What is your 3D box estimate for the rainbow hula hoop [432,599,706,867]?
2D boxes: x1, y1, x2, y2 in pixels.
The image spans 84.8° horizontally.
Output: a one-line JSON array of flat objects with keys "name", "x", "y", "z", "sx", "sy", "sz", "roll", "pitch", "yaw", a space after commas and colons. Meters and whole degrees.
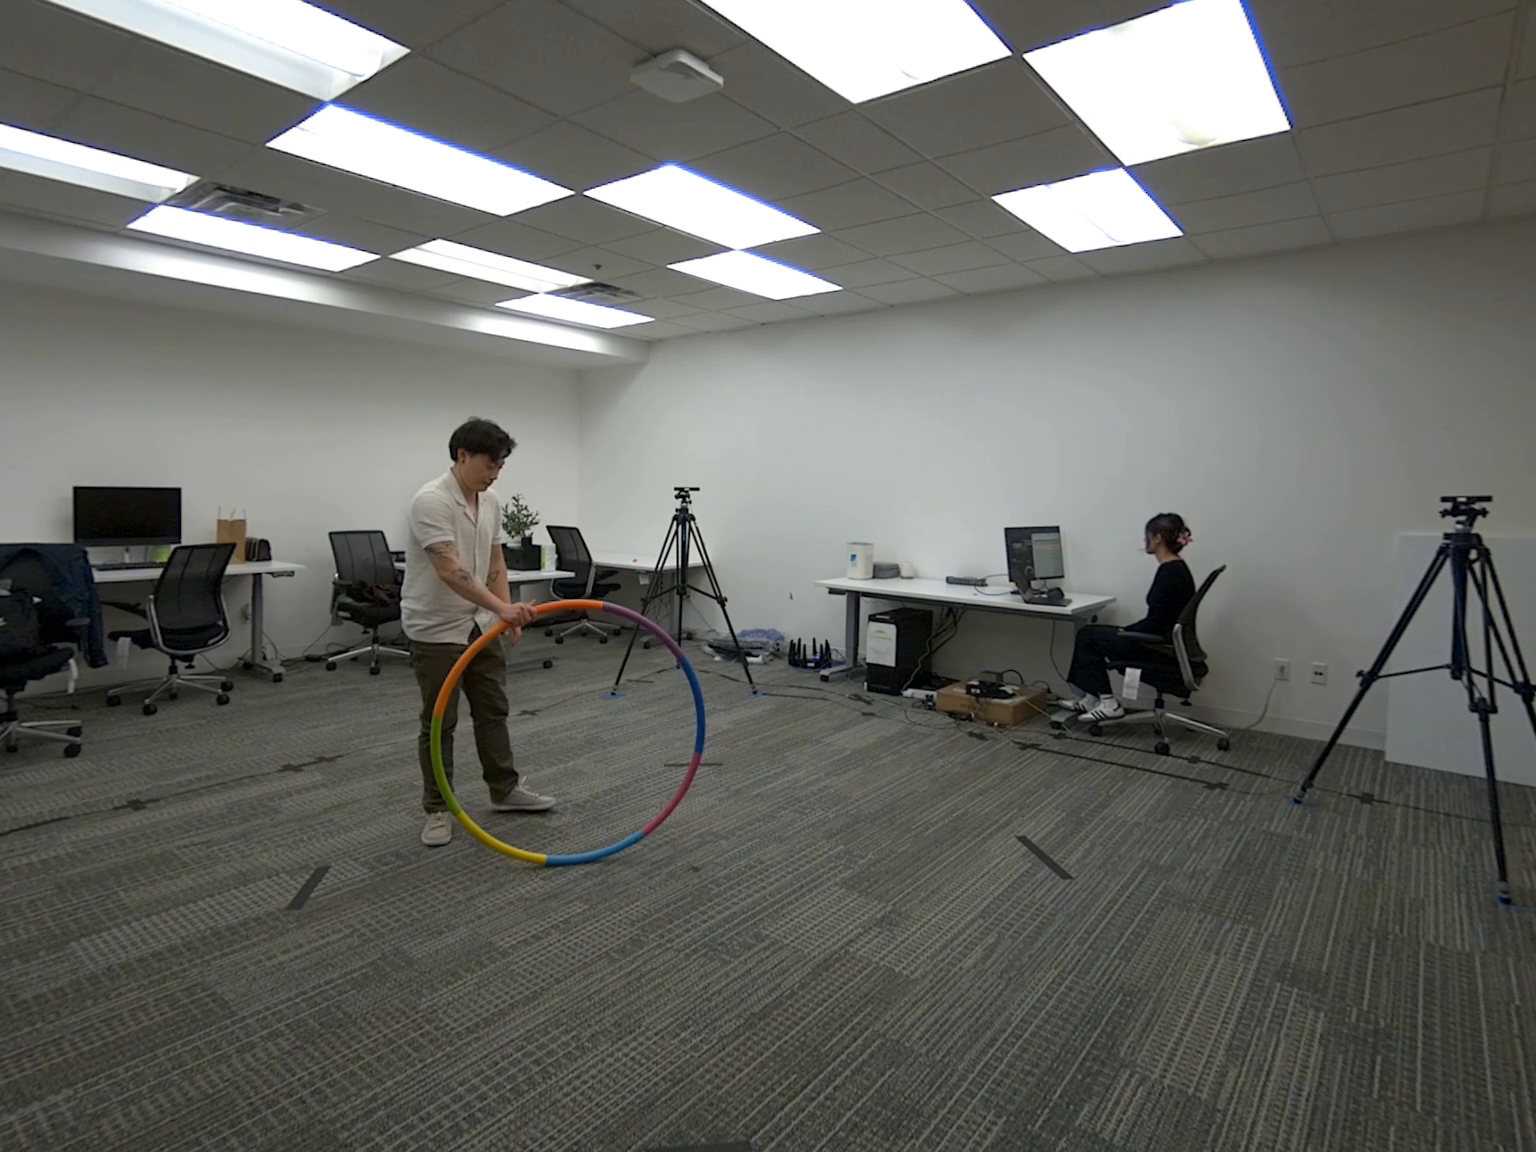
[{"name": "rainbow hula hoop", "x": -0.719, "y": 0.578, "z": 3.102, "sx": 0.963, "sy": 0.975, "sz": 0.036, "roll": 0, "pitch": 3, "yaw": -15}]
